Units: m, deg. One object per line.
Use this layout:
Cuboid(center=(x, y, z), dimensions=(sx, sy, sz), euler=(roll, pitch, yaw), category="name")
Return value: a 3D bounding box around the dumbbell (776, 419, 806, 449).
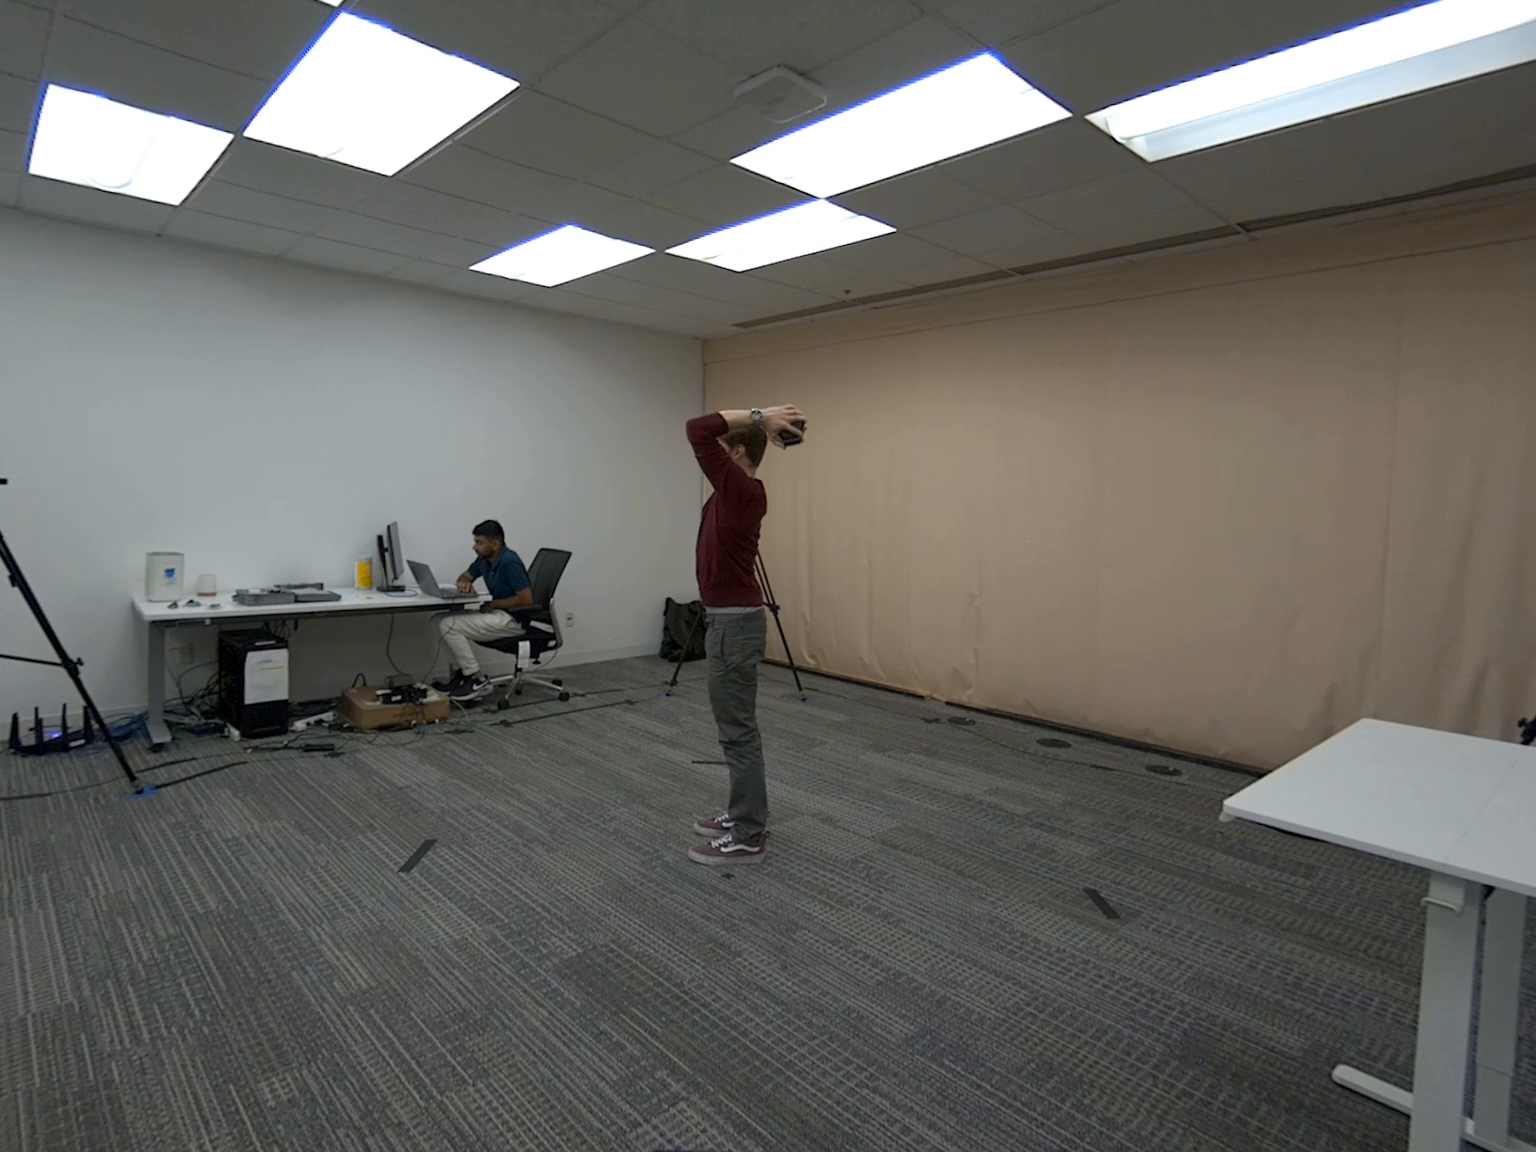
Cuboid(center=(0.045, -0.581, 3.260), dimensions=(0.124, 0.109, 0.290), euler=(44, 9, 10), category="dumbbell")
